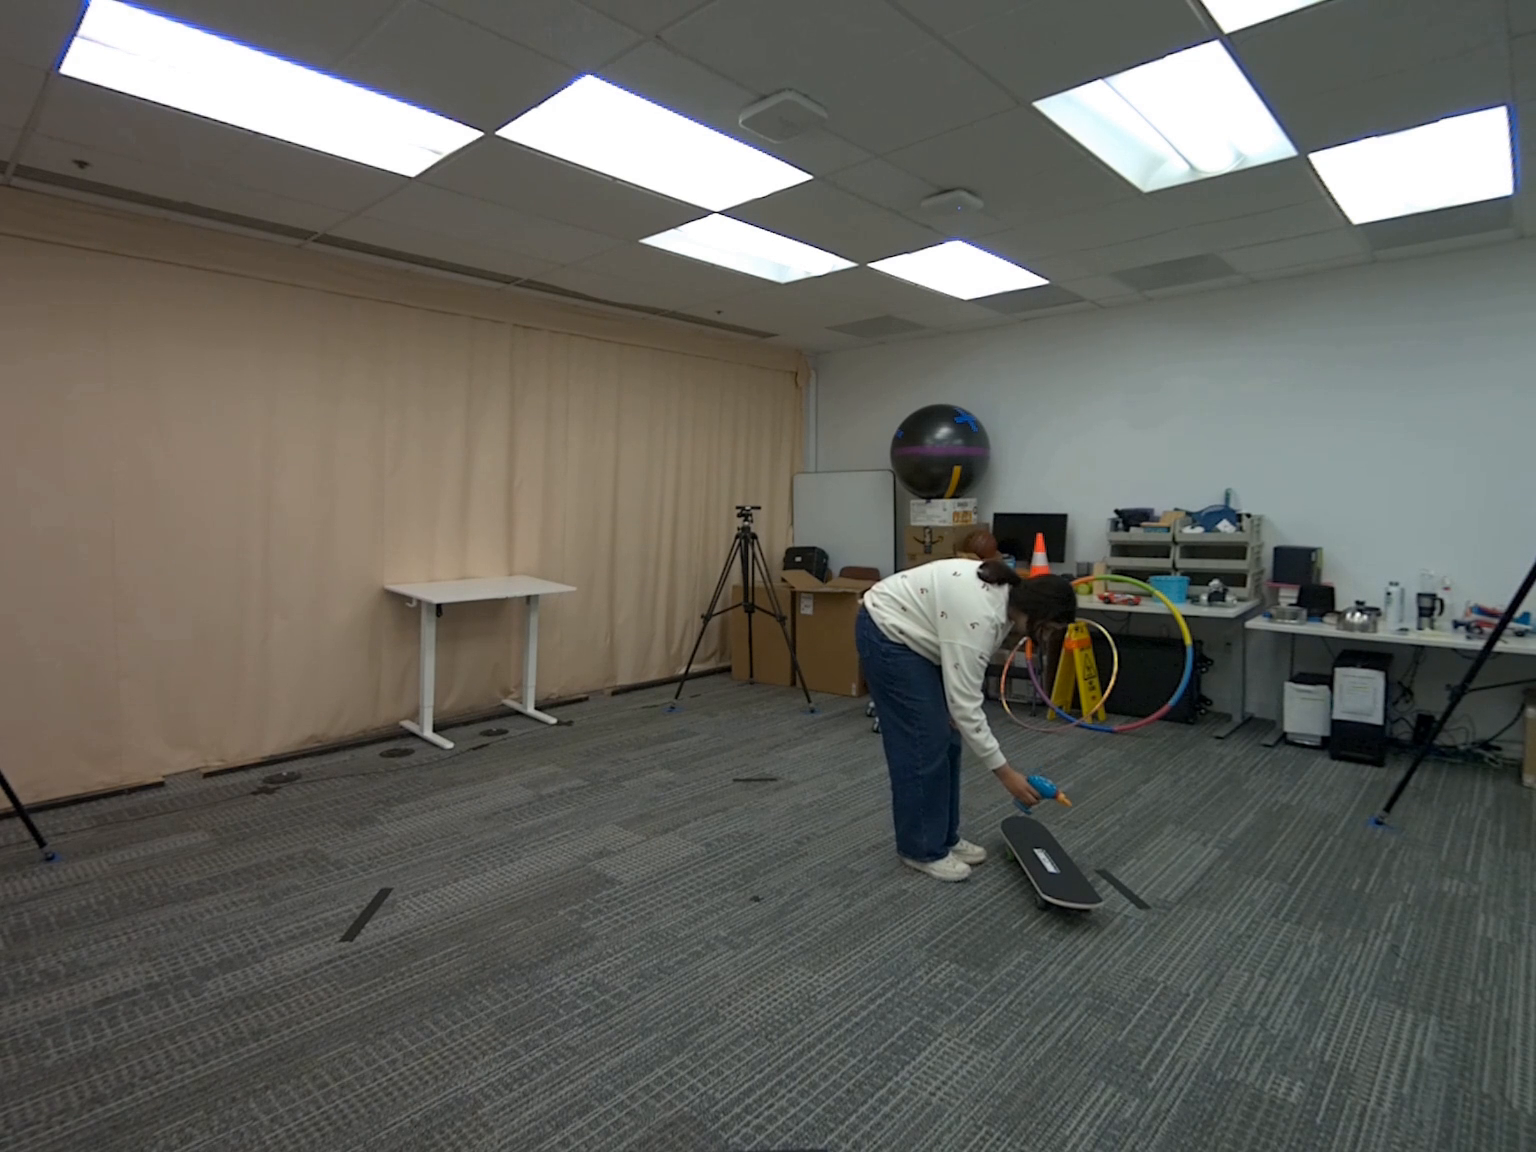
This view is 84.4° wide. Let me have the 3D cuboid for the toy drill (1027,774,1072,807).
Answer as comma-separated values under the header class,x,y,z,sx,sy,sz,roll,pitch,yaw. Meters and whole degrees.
class,x,y,z,sx,sy,sz,roll,pitch,yaw
toy drill,0.980,0.782,2.952,0.171,0.146,0.061,32,25,5
